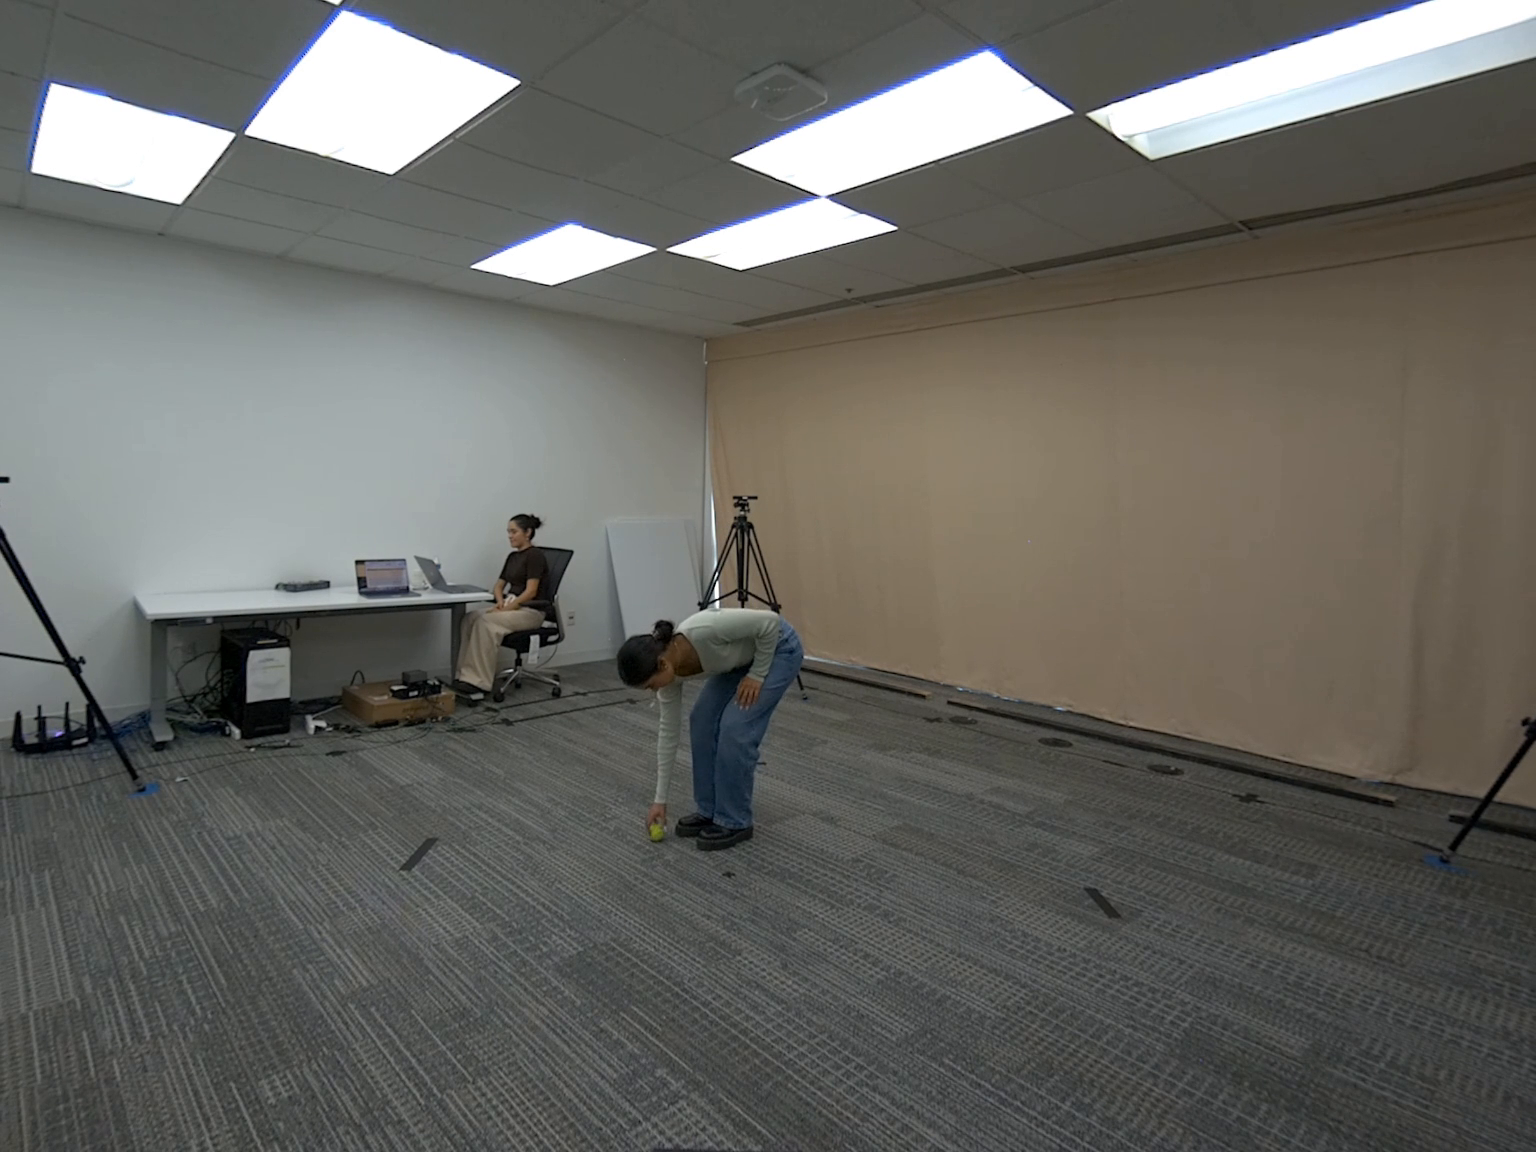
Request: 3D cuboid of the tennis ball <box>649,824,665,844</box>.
[{"bbox_3d":[-0.450,1.018,3.395,0.066,0.066,0.067,1,4,-1],"label":"tennis ball"}]
